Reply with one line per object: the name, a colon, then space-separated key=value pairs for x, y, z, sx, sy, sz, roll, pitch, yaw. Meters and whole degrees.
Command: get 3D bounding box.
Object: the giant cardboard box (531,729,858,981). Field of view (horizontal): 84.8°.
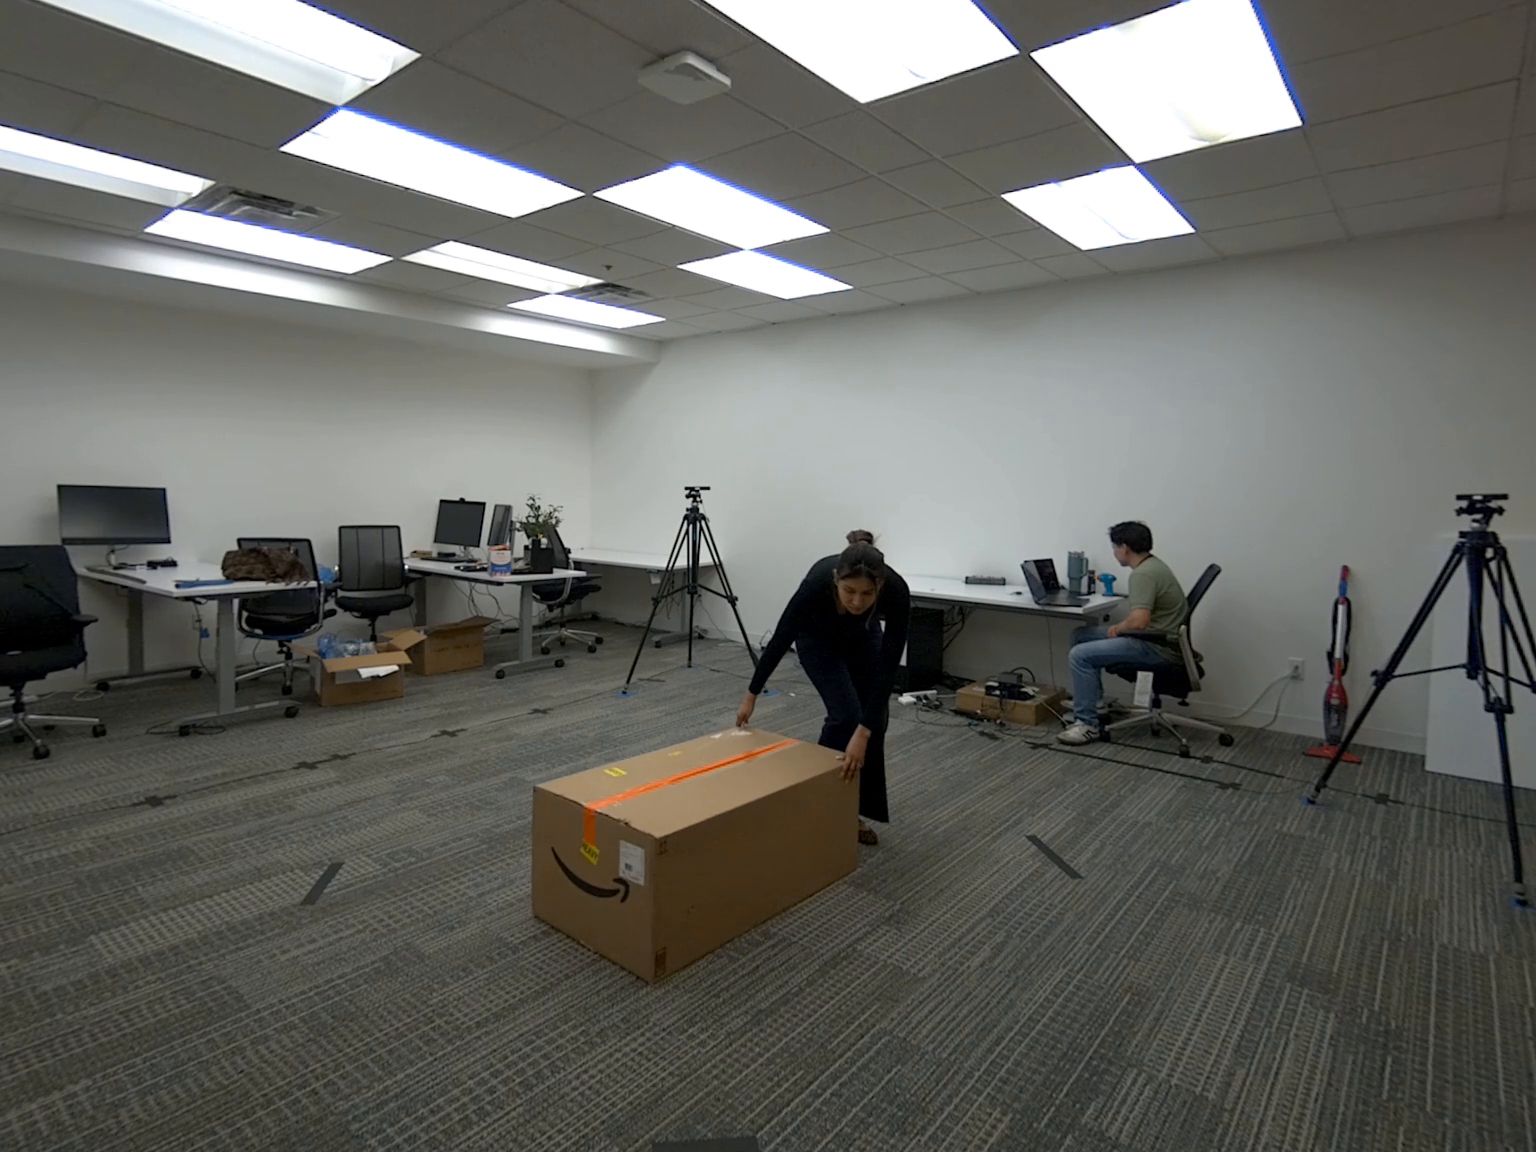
giant cardboard box: x=-0.223 y=0.871 z=2.912 sx=0.597 sy=0.425 sz=0.995 roll=4 pitch=6 yaw=41
